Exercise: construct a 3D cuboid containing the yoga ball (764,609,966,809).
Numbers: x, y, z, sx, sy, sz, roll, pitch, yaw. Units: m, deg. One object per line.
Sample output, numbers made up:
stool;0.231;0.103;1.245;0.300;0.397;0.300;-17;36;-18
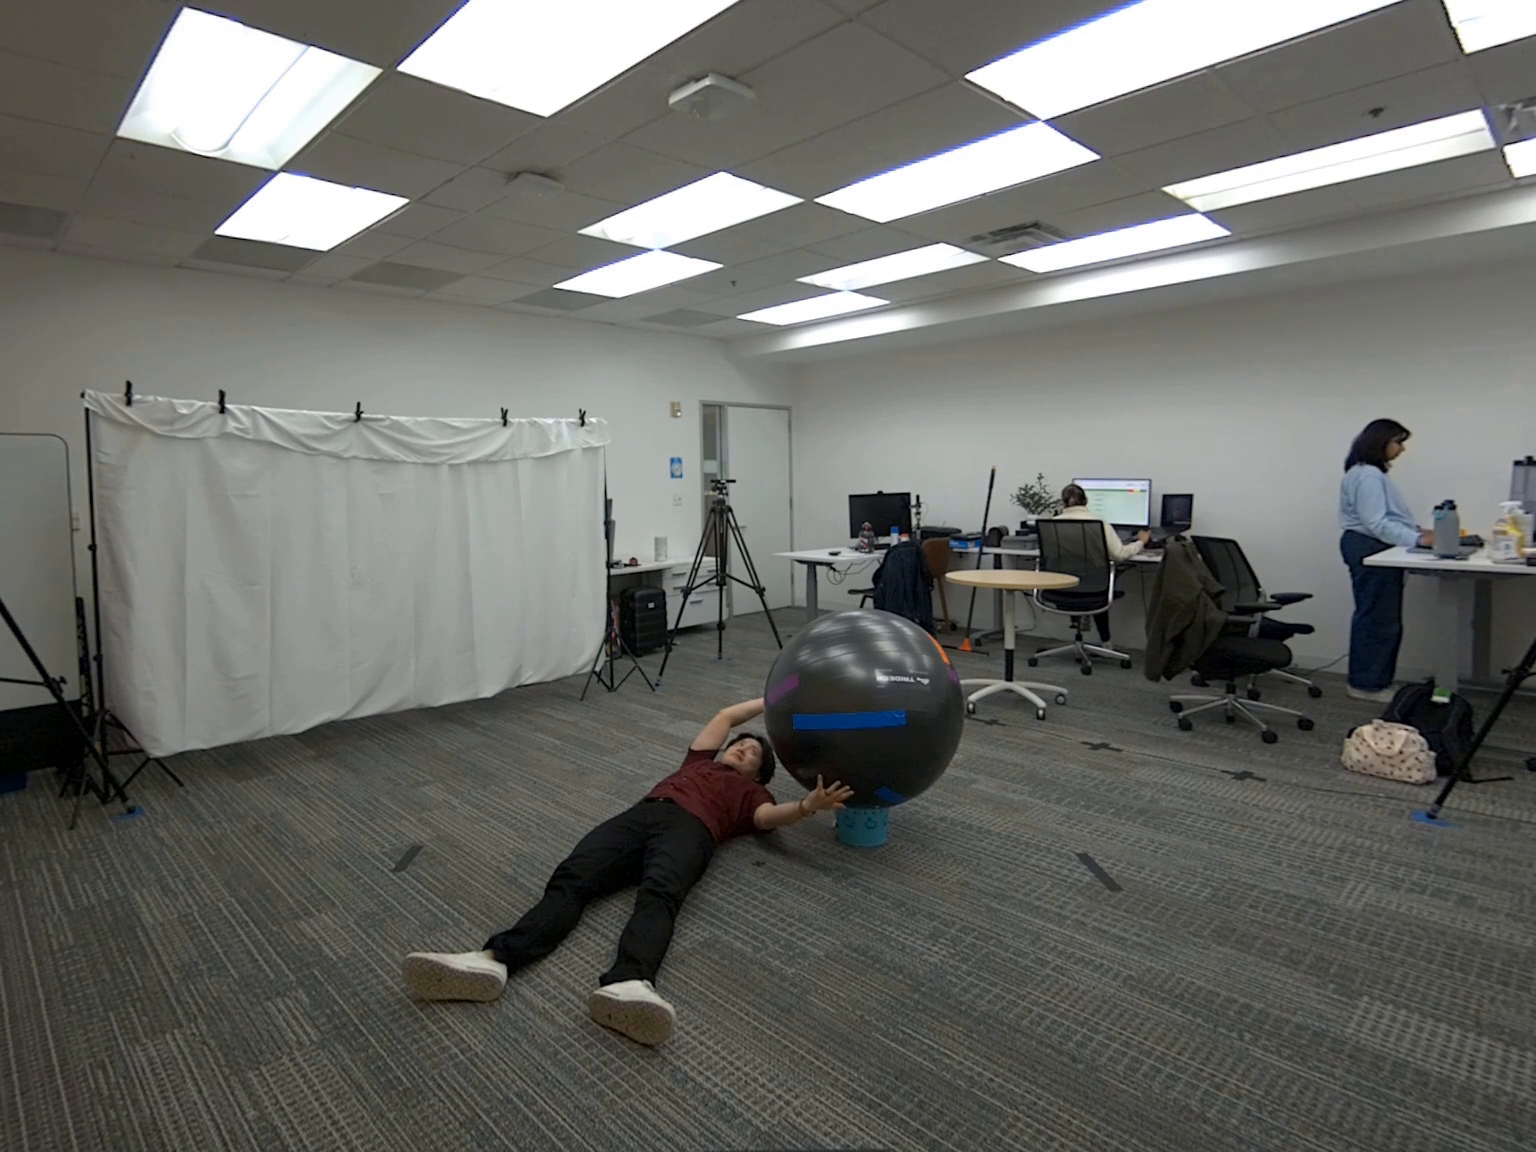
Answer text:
yoga ball;0.366;0.510;3.295;0.757;0.755;0.762;-1;5;-2
